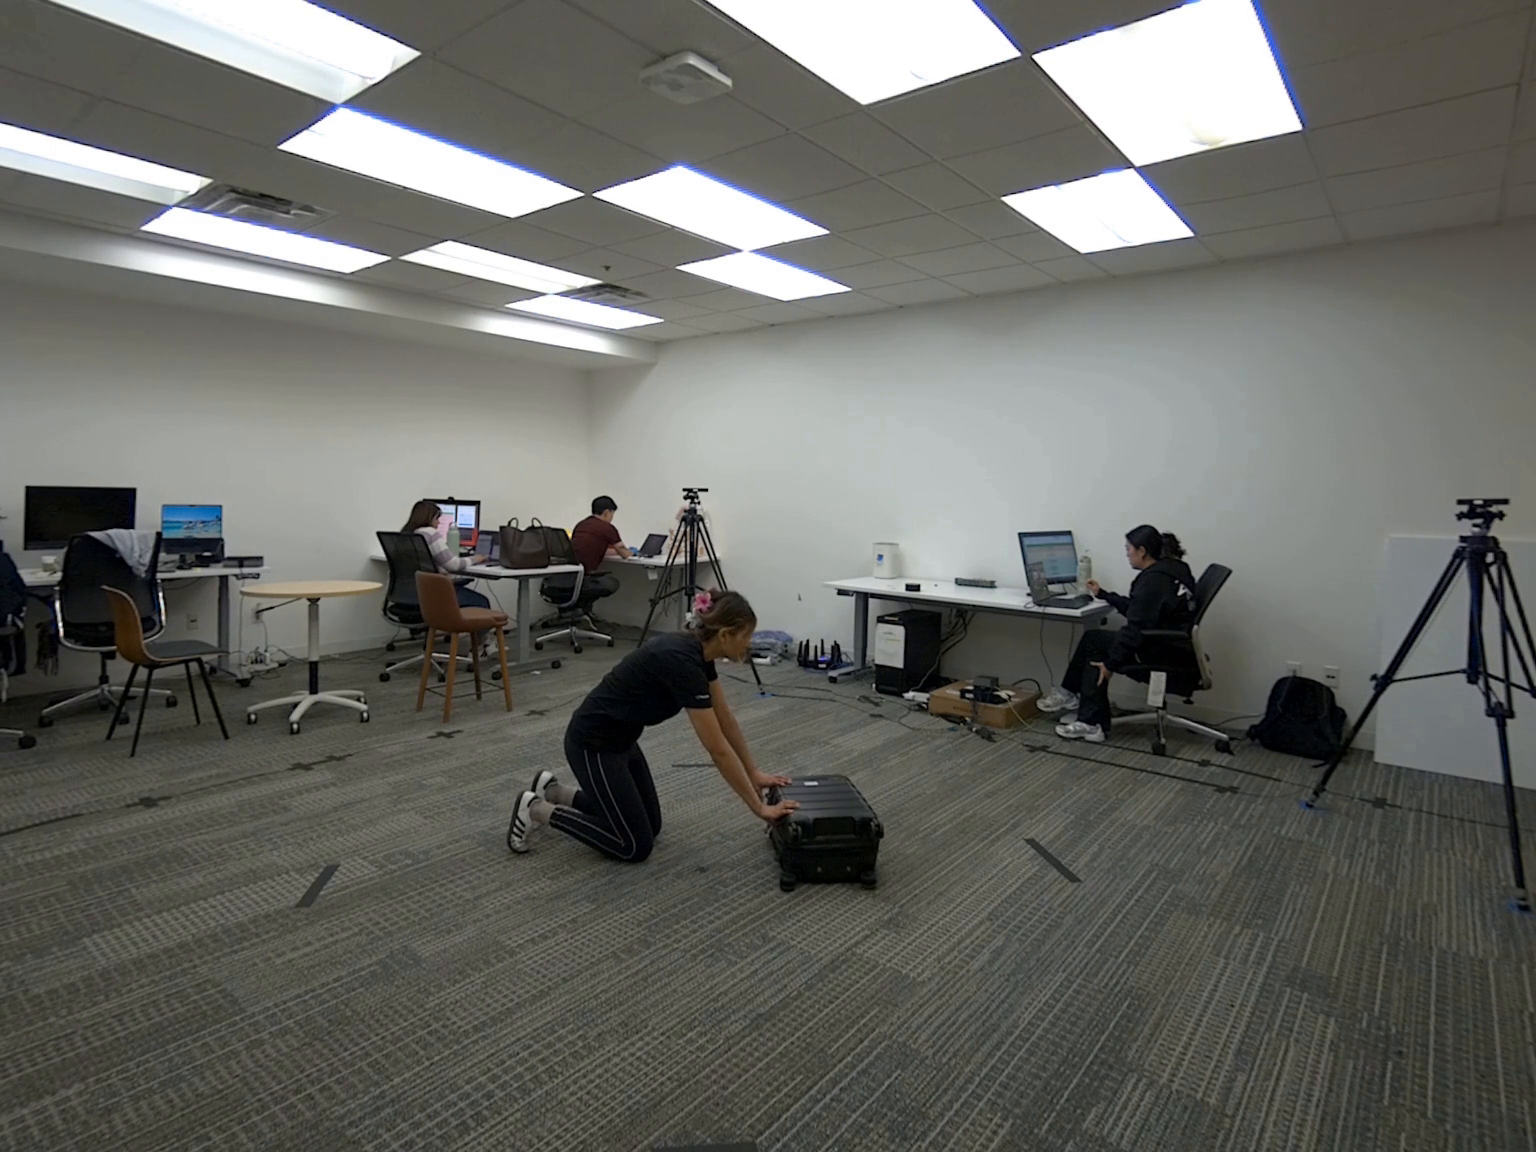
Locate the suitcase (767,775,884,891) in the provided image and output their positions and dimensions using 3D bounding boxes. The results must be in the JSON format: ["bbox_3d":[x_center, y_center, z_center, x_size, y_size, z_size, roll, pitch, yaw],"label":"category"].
[{"bbox_3d":[0.161,0.927,3.432,0.381,0.255,0.991,-1,7,-8],"label":"suitcase"}]
